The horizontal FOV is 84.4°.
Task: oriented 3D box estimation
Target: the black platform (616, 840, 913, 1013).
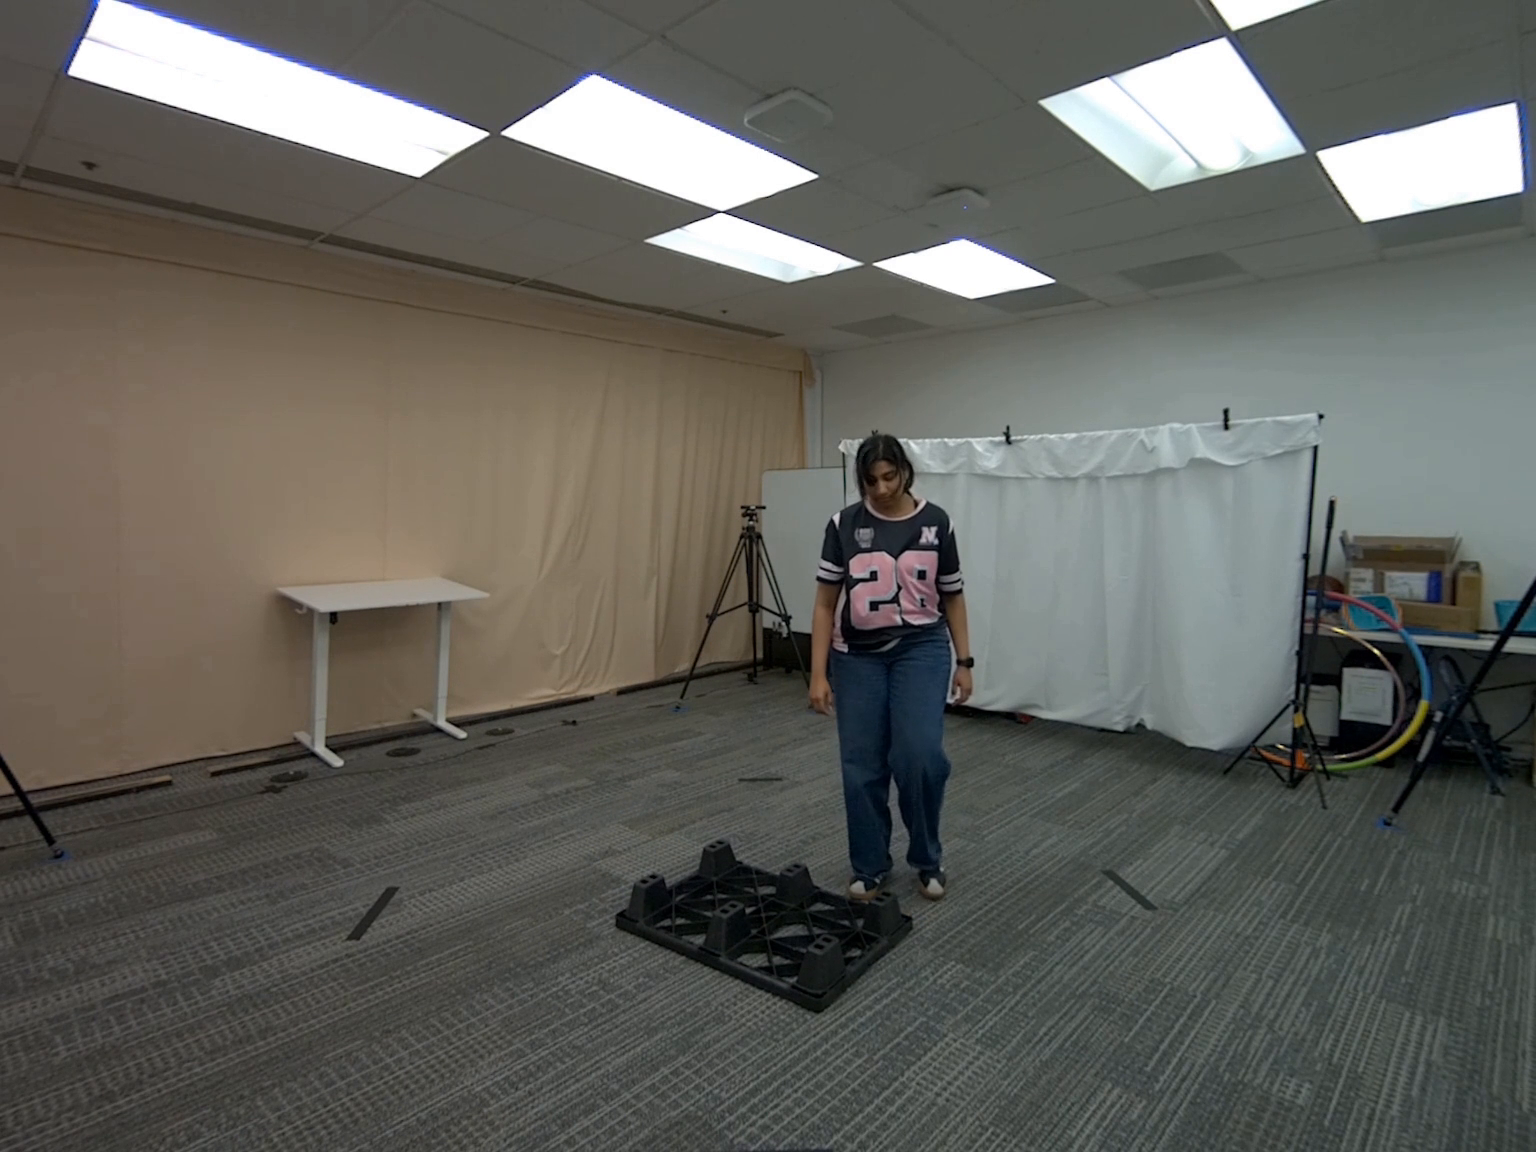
[{"bbox_3d":[-0.020,1.098,2.772,0.831,0.143,0.587,3,5,37],"label":"black platform"}]
